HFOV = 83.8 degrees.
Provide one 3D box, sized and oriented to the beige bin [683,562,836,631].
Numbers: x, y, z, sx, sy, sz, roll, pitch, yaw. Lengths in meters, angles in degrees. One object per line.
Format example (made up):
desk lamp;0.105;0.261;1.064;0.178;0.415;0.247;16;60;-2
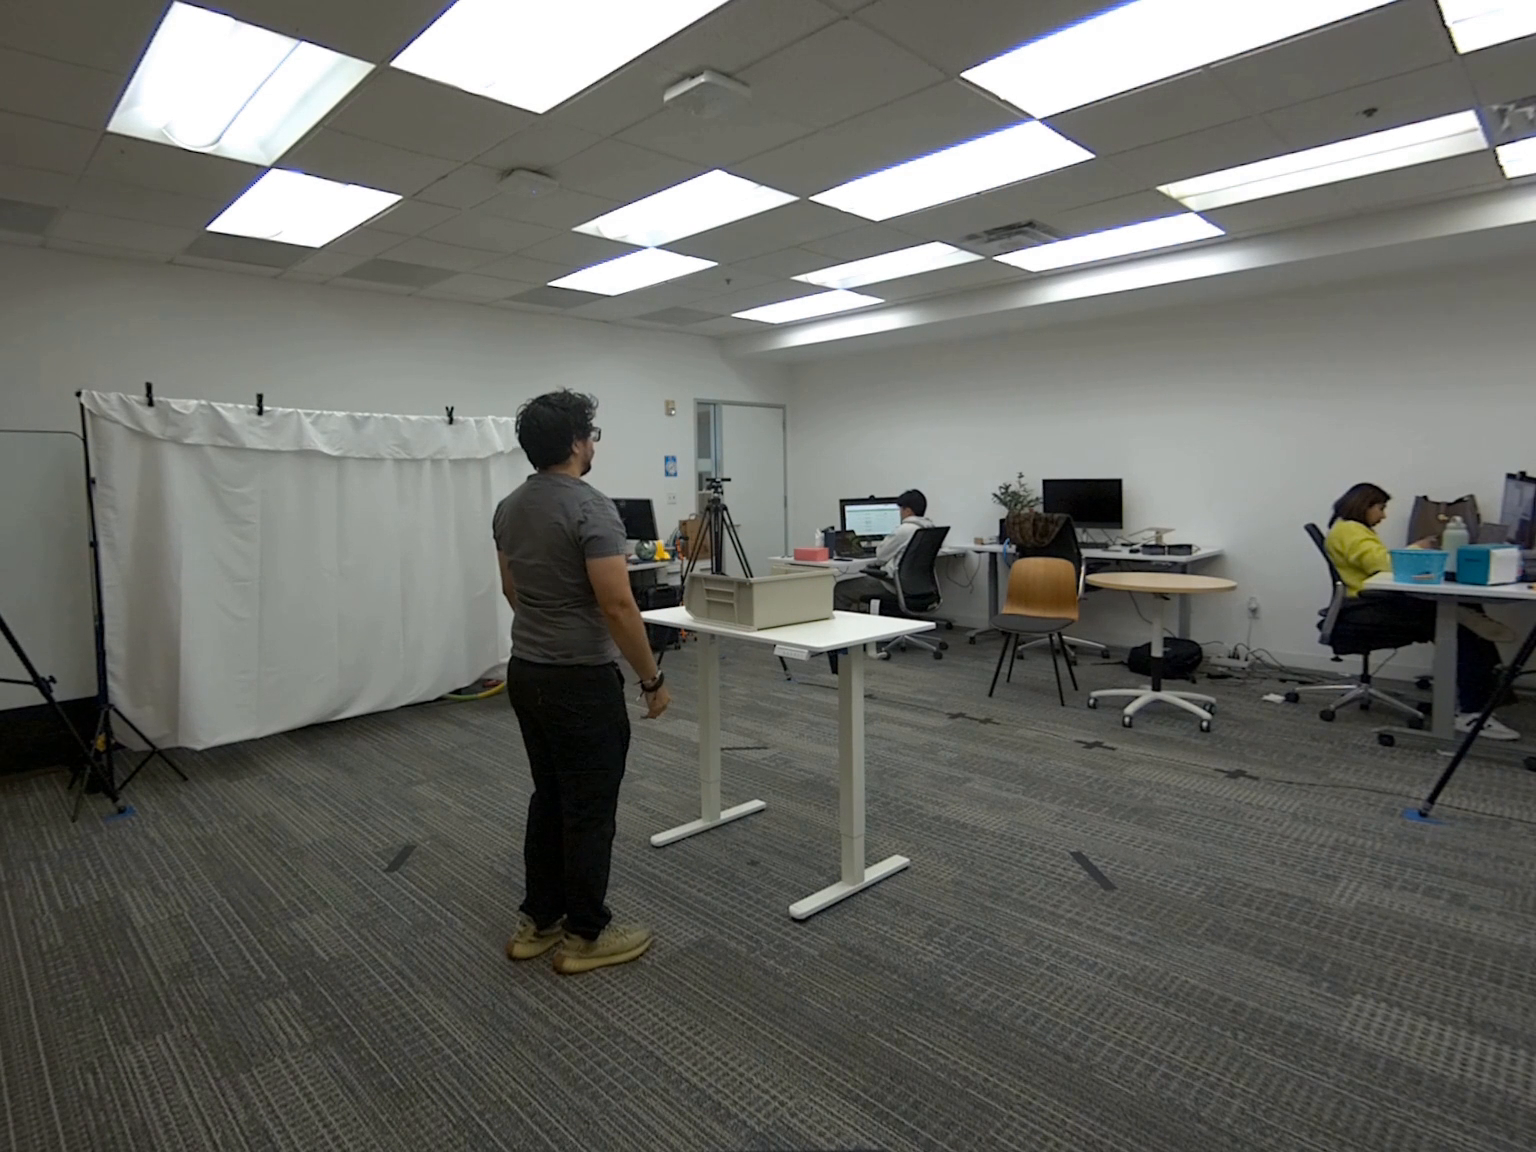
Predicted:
beige bin;-0.027;0.072;3.085;0.411;0.188;0.389;-5;8;-40
